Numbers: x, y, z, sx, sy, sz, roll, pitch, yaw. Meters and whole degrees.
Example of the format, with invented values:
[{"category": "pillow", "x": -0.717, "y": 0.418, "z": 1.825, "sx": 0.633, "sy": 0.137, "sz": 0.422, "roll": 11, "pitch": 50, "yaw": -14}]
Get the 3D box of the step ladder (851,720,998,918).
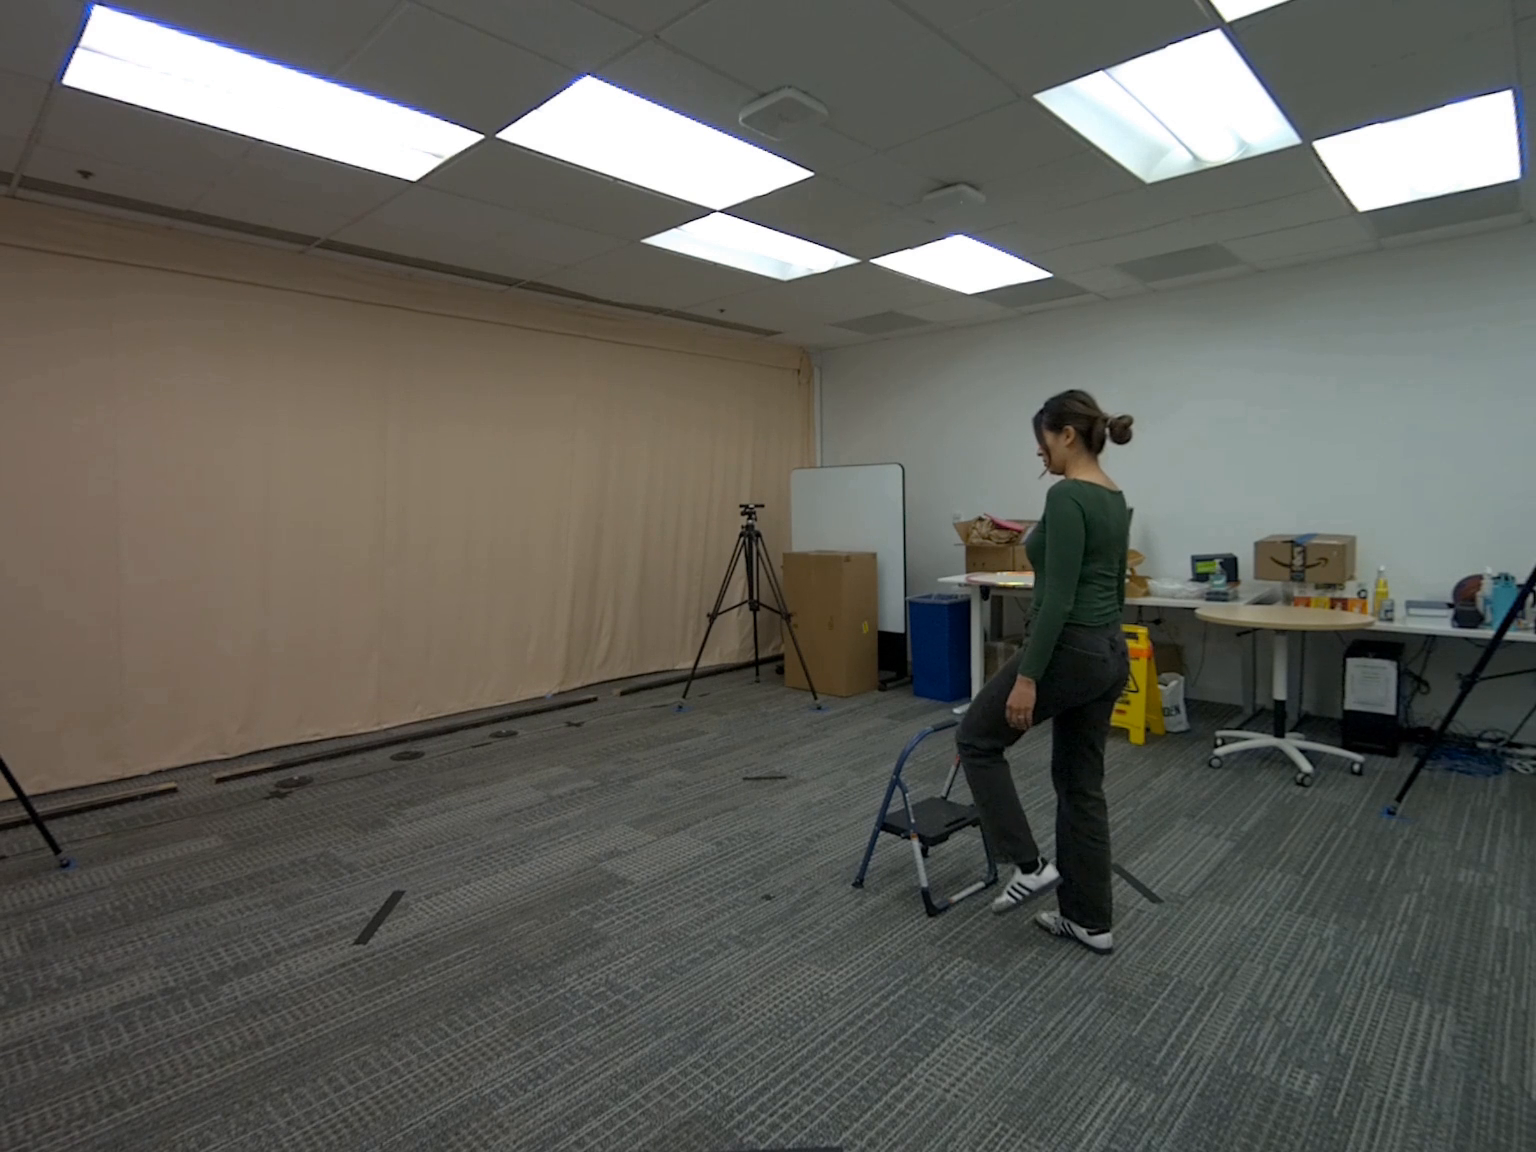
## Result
[{"category": "step ladder", "x": 0.575, "y": 0.818, "z": 3.055, "sx": 0.417, "sy": 0.605, "sz": 0.361, "roll": -4, "pitch": 5, "yaw": -43}]
